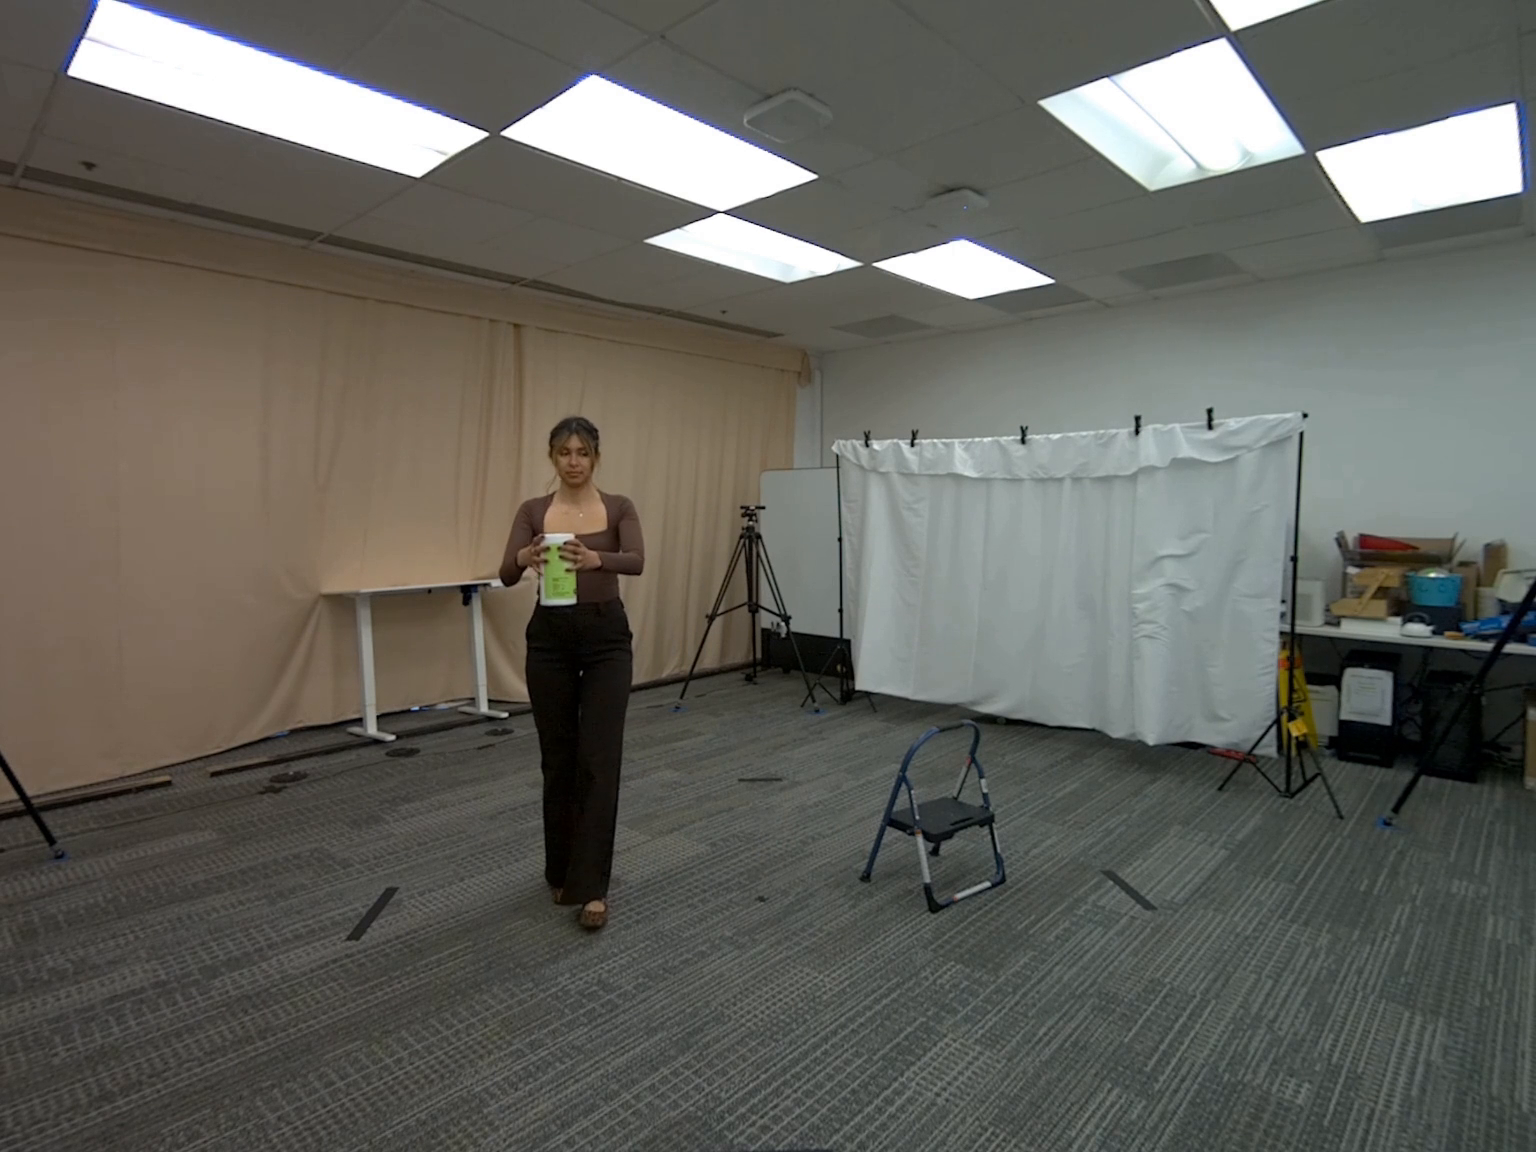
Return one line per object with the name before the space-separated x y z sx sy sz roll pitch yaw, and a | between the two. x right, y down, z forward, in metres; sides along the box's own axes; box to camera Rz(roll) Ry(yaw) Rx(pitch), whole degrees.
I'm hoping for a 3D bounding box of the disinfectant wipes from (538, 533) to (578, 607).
disinfectant wipes | -0.645 -0.019 2.558 0.118 0.217 0.118 -1 1 -2
